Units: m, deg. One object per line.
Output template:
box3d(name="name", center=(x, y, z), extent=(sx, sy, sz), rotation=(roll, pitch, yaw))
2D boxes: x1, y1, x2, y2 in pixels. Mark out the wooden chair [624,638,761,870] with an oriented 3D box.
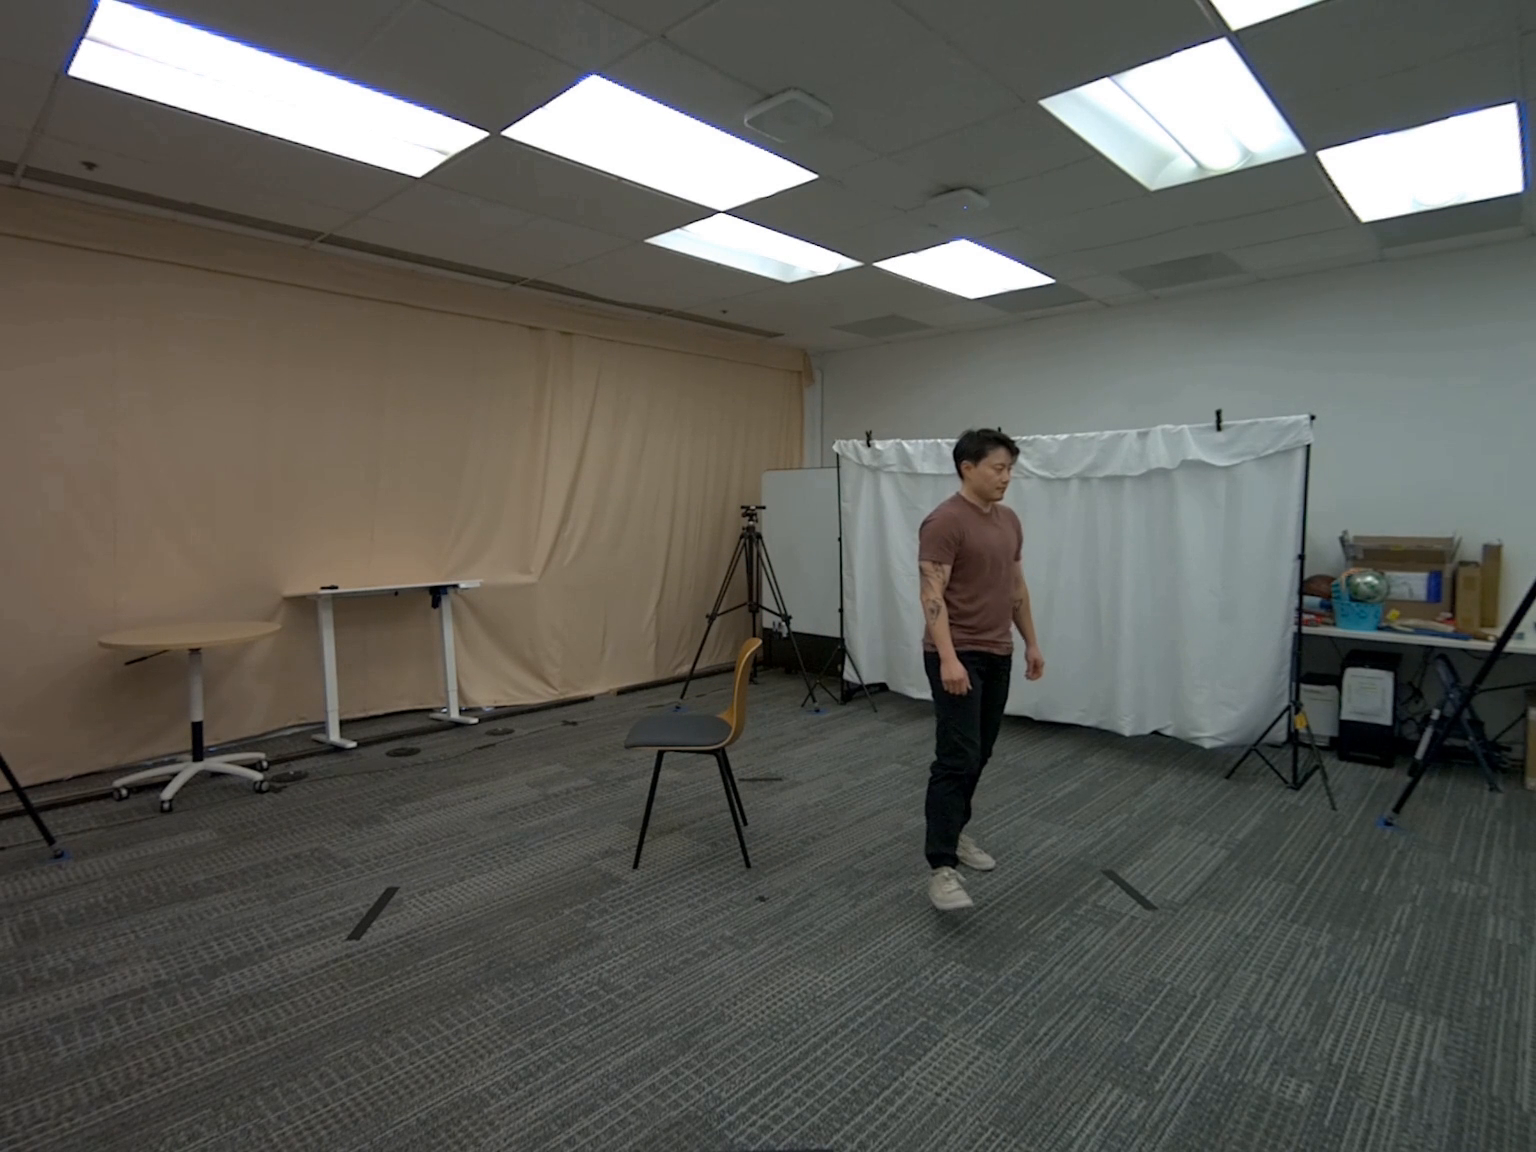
box3d(name="wooden chair", center=(-0.314, 0.684, 3.421), extent=(0.523, 0.875, 0.479), rotation=(4, 4, -1))
